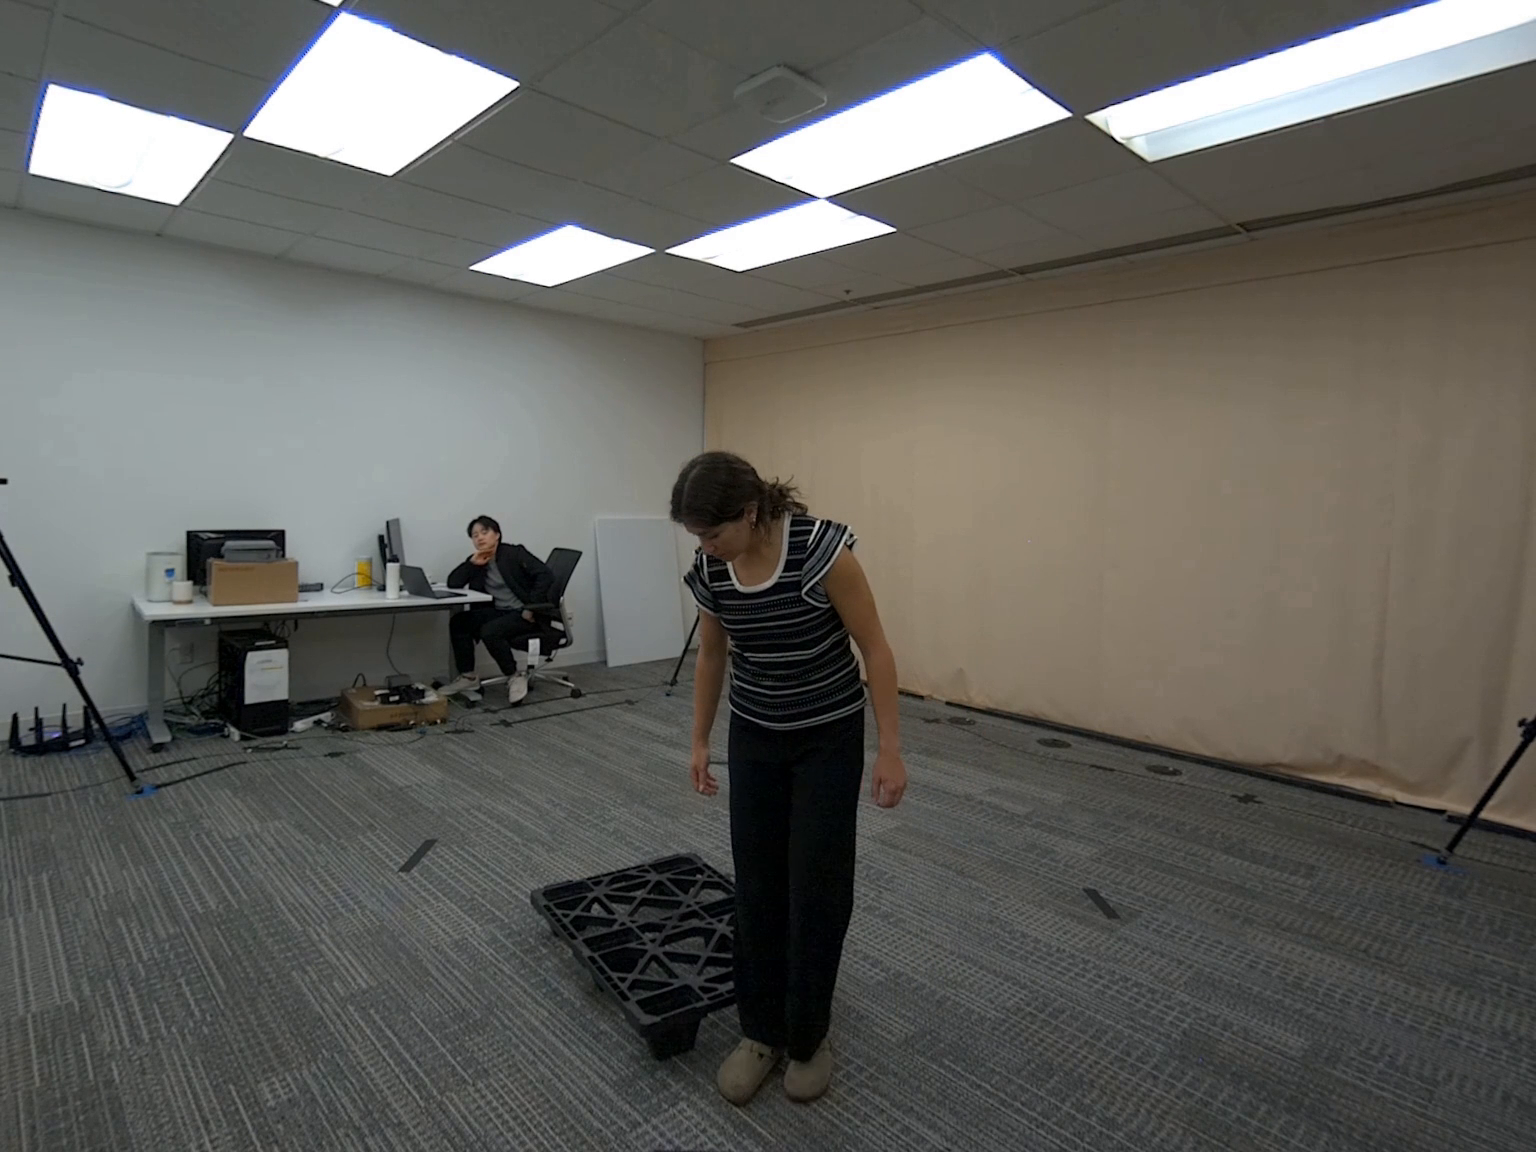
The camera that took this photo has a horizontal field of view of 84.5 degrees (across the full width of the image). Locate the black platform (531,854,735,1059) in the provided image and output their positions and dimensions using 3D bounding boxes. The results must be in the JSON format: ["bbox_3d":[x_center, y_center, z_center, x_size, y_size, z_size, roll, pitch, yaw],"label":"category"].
[{"bbox_3d":[-0.296,1.093,2.495,0.592,0.143,0.825,-3,7,-34],"label":"black platform"}]
